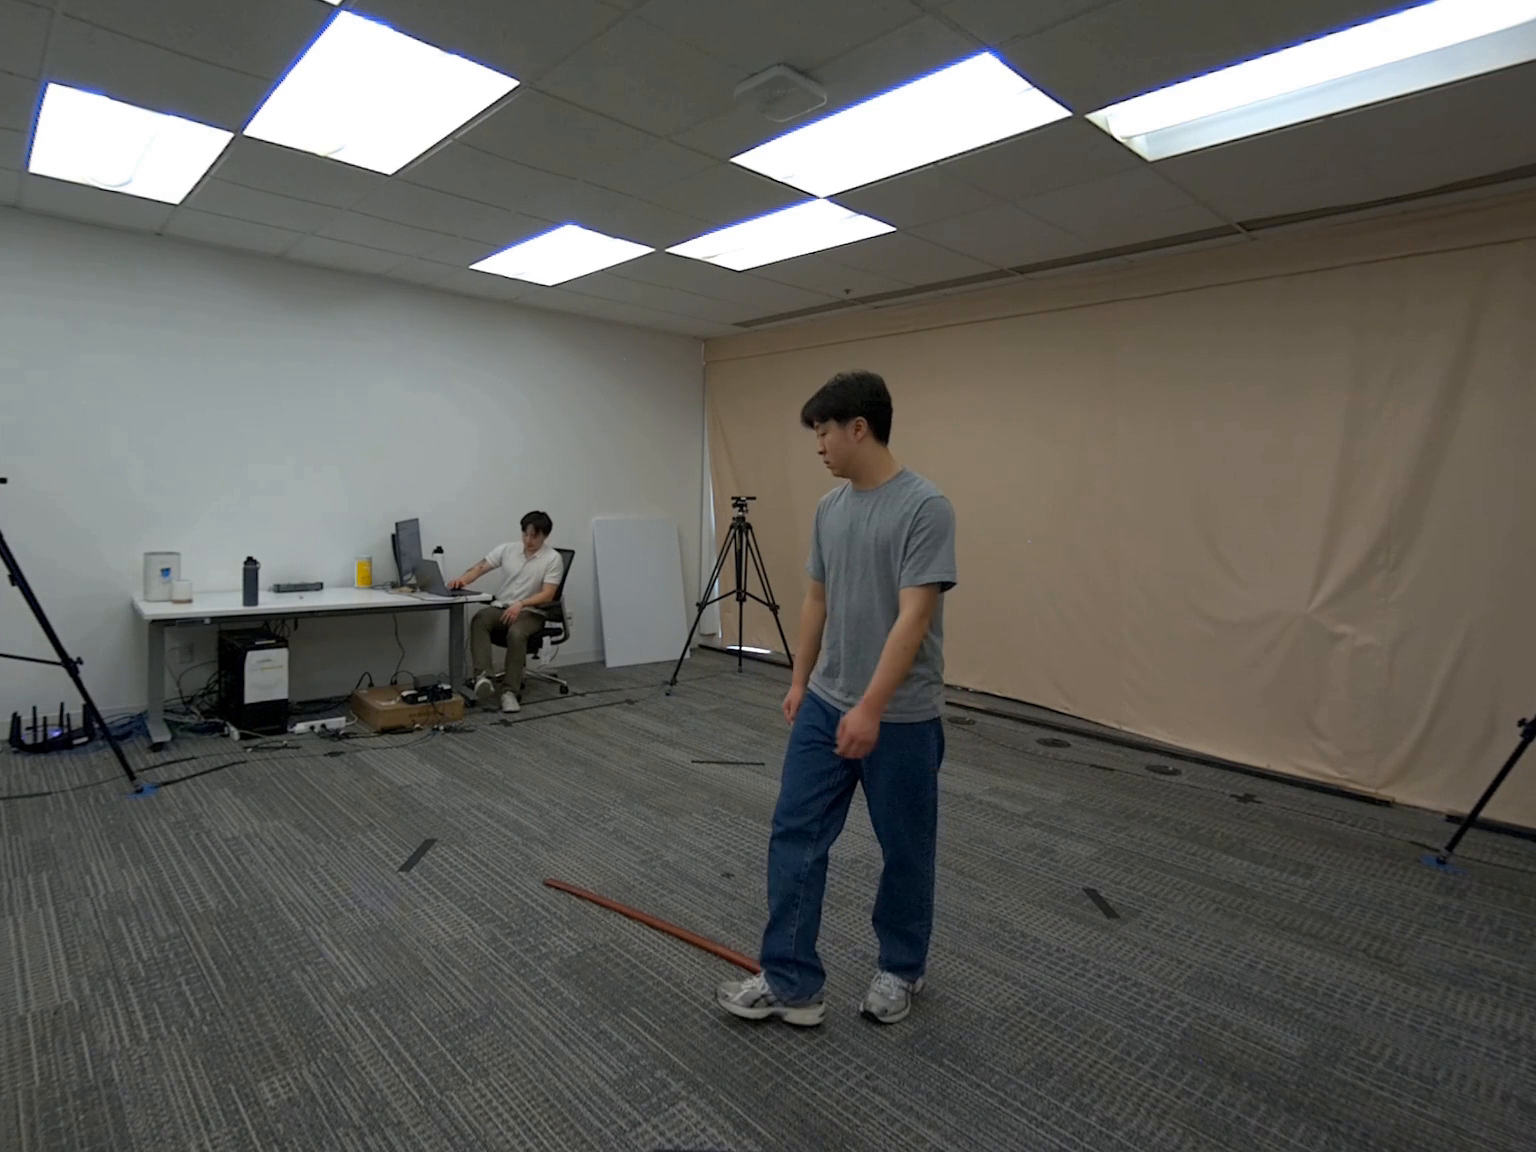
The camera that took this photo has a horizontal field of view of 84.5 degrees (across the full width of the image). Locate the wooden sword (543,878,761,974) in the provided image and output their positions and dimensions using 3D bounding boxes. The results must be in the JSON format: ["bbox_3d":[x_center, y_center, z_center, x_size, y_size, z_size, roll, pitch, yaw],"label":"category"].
[{"bbox_3d":[-0.367,1.116,2.713,1.049,0.024,0.050,5,-11,36],"label":"wooden sword"}]
